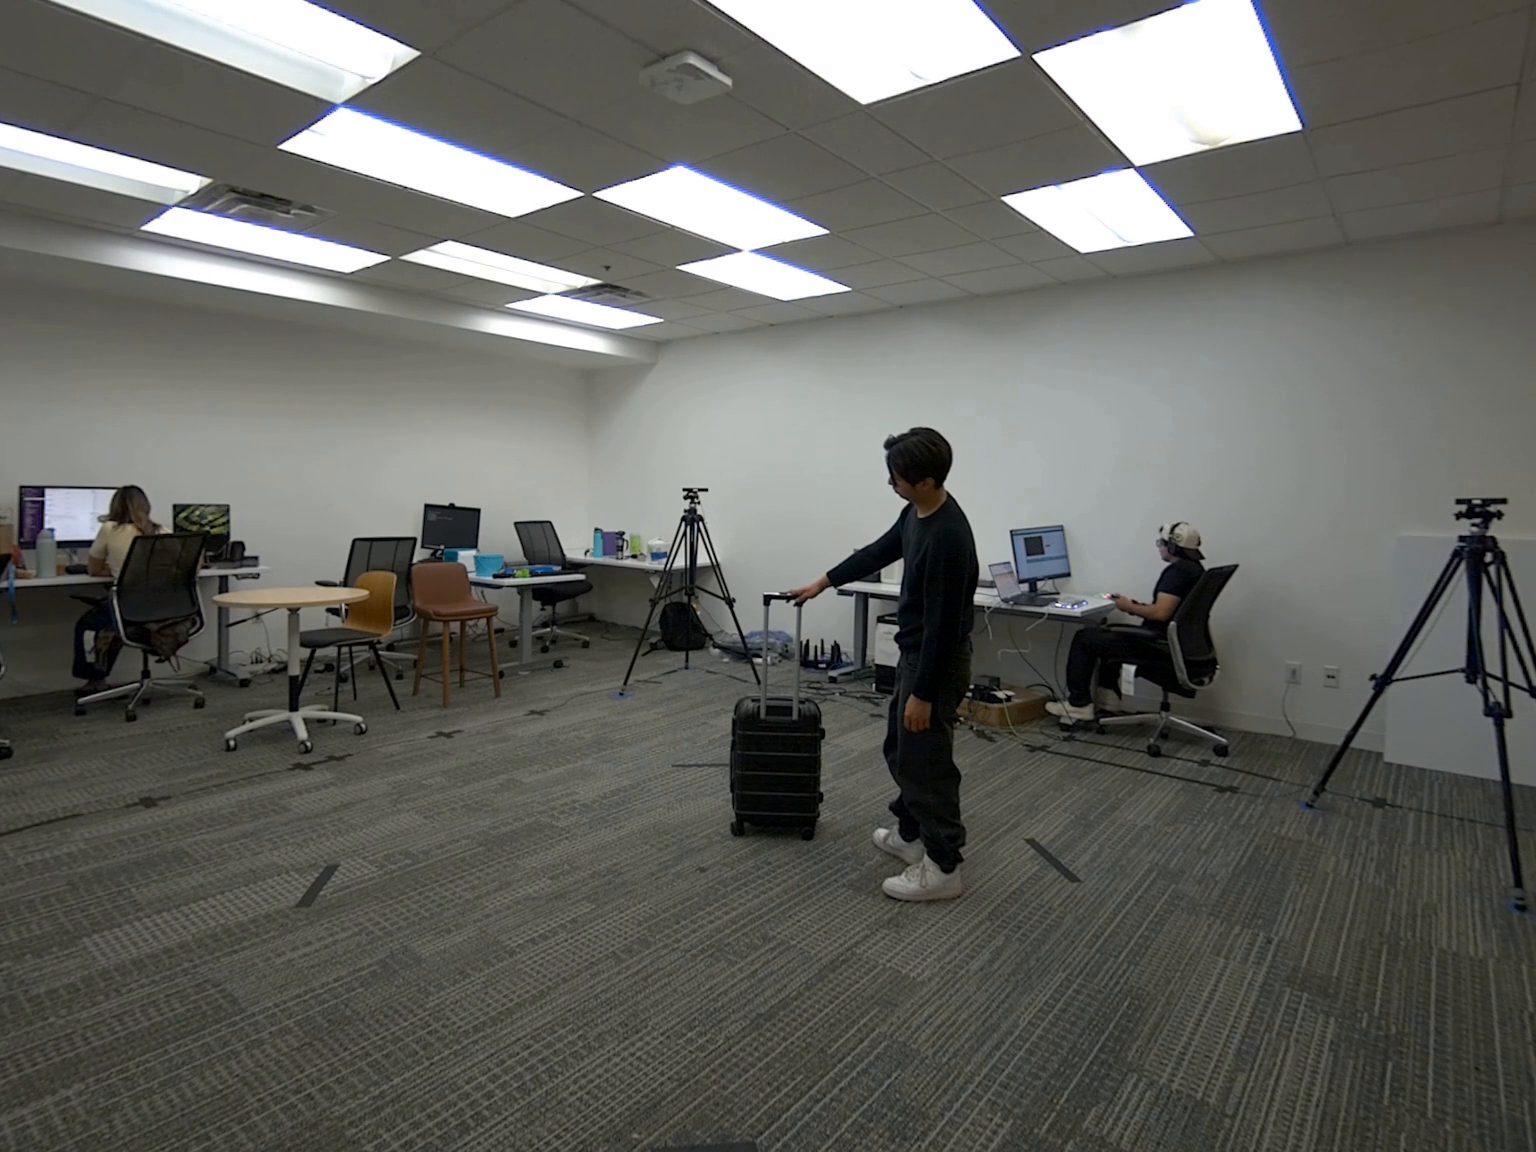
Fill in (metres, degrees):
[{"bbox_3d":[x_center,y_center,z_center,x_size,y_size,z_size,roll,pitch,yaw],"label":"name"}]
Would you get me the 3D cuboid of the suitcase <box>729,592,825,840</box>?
[{"bbox_3d":[0.031,0.560,3.497,0.384,0.977,0.257,2,1,0],"label":"suitcase"}]
